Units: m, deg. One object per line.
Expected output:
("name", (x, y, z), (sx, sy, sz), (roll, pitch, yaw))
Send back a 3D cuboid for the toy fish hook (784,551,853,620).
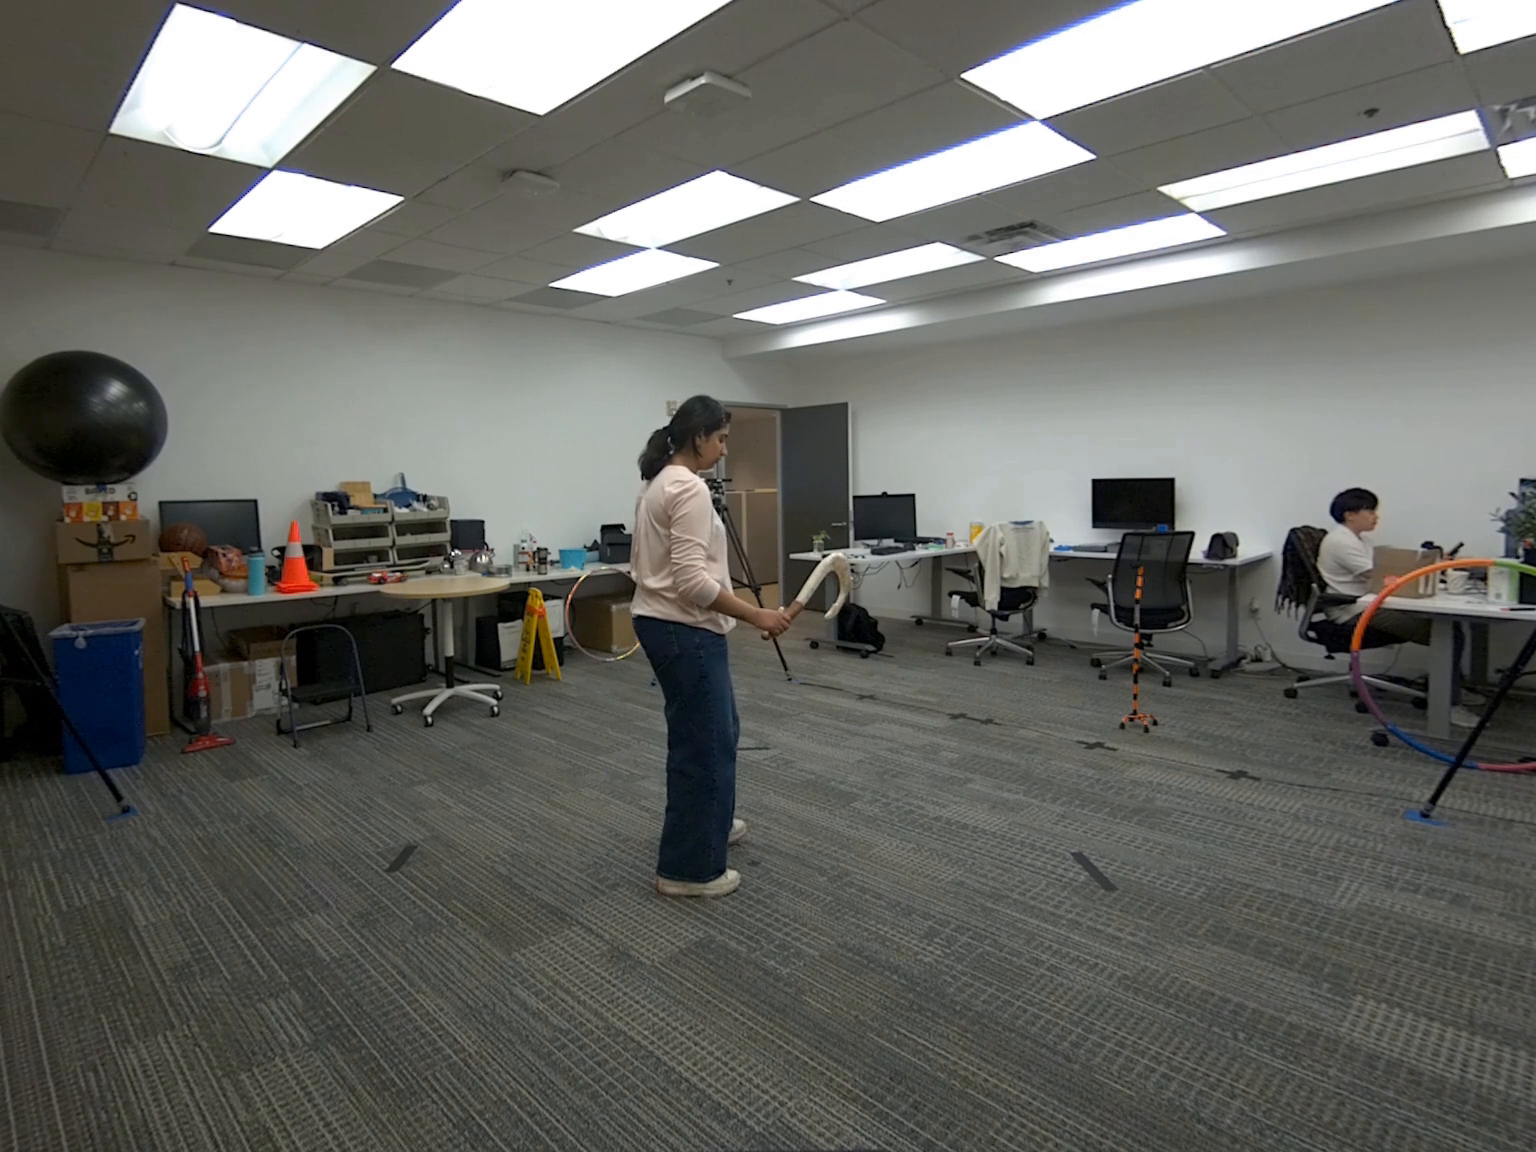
("toy fish hook", (0.143, 0.116, 2.970), (0.050, 0.218, 0.504), (5, 36, 43))
